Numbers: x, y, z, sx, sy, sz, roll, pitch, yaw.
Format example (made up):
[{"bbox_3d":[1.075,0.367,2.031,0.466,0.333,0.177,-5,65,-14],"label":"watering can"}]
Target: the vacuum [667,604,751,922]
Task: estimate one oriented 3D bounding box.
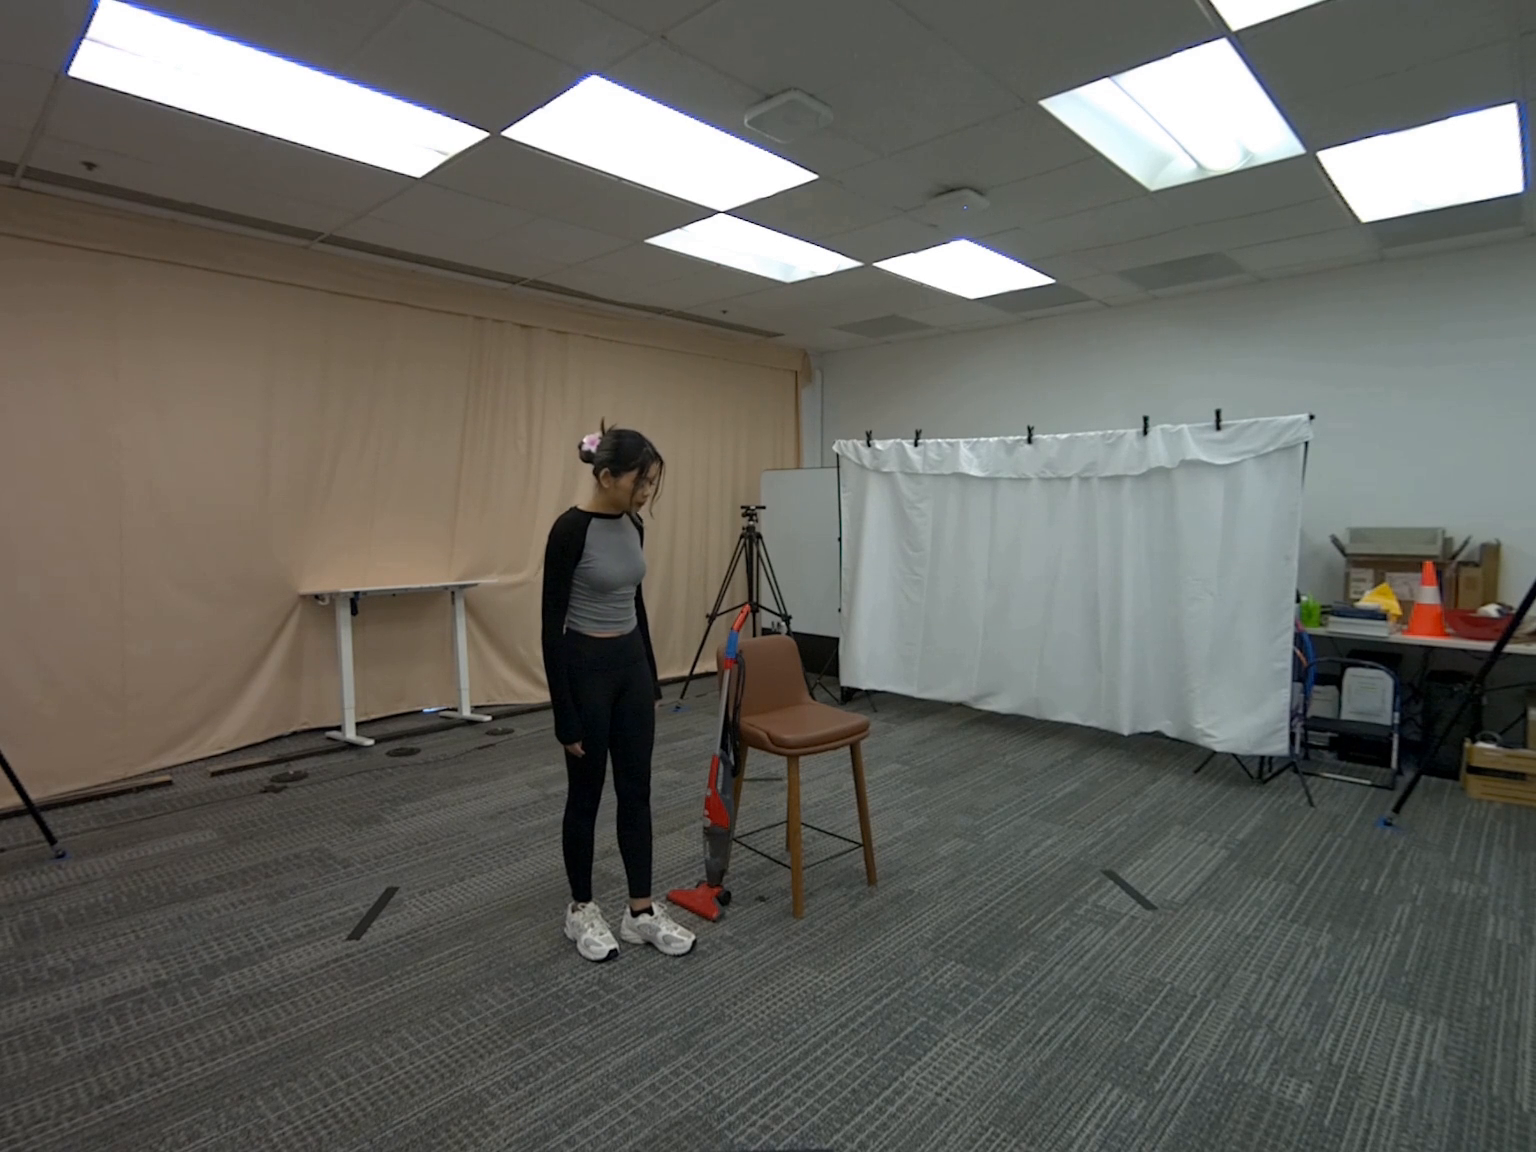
[{"bbox_3d":[-0.146,0.631,3.012,0.139,1.052,0.260,14,-8,-37],"label":"vacuum"}]
